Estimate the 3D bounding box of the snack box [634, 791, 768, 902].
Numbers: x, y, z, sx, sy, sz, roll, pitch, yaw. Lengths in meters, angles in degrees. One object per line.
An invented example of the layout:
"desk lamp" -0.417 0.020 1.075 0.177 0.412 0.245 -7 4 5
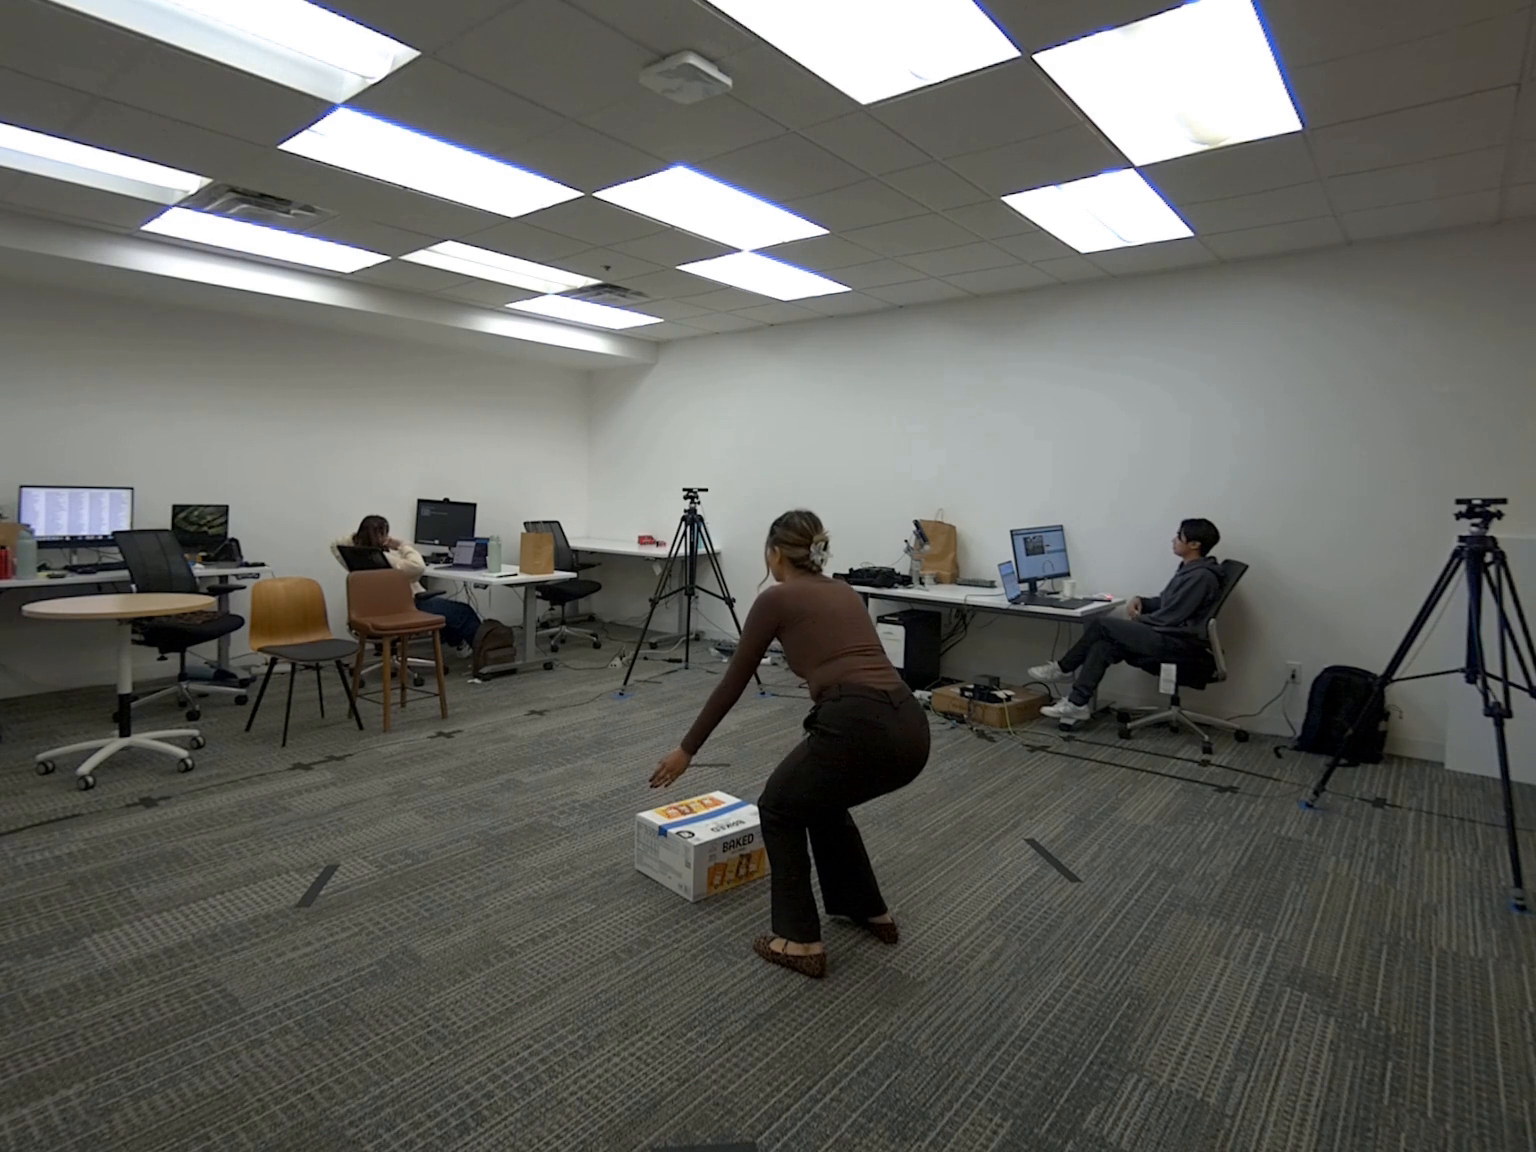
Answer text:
"snack box" -0.232 0.969 3.092 0.393 0.205 0.352 -3 6 -43
